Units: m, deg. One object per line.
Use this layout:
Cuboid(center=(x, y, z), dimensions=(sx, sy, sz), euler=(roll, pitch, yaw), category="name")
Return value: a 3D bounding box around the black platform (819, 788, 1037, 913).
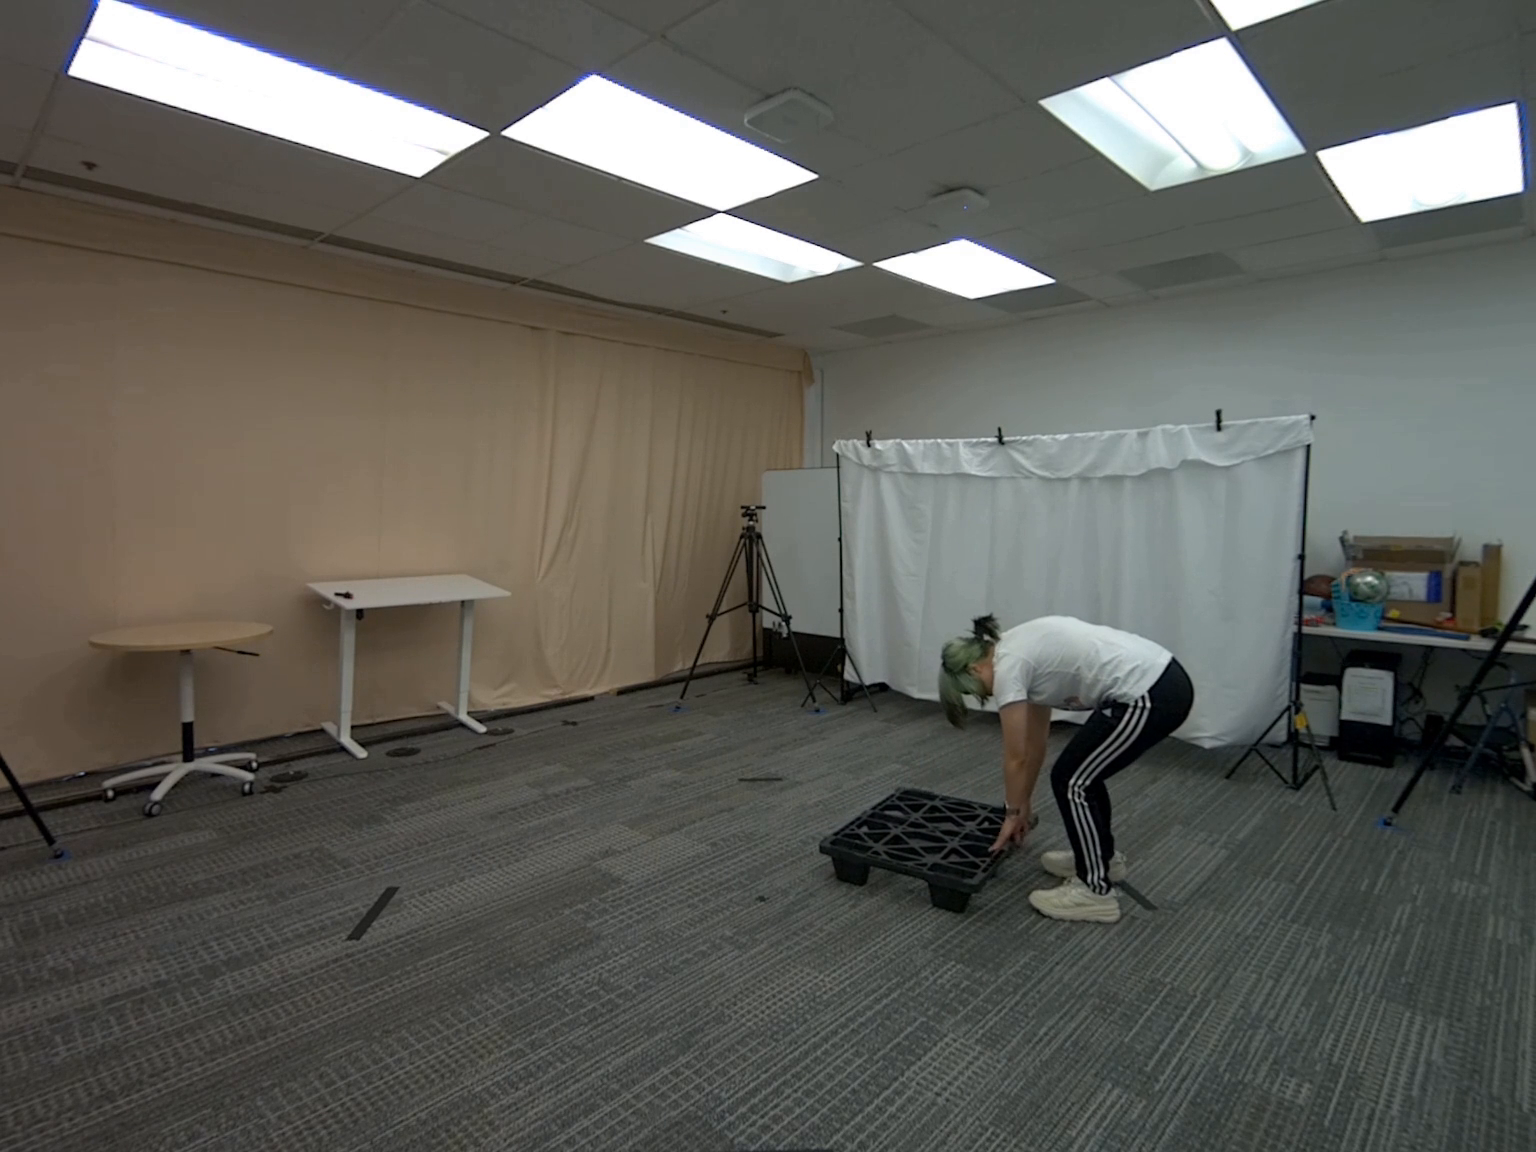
Cuboid(center=(0.652, 1.048, 3.287), dimensions=(0.624, 0.143, 0.783), euler=(4, 6, 33), category="black platform")
